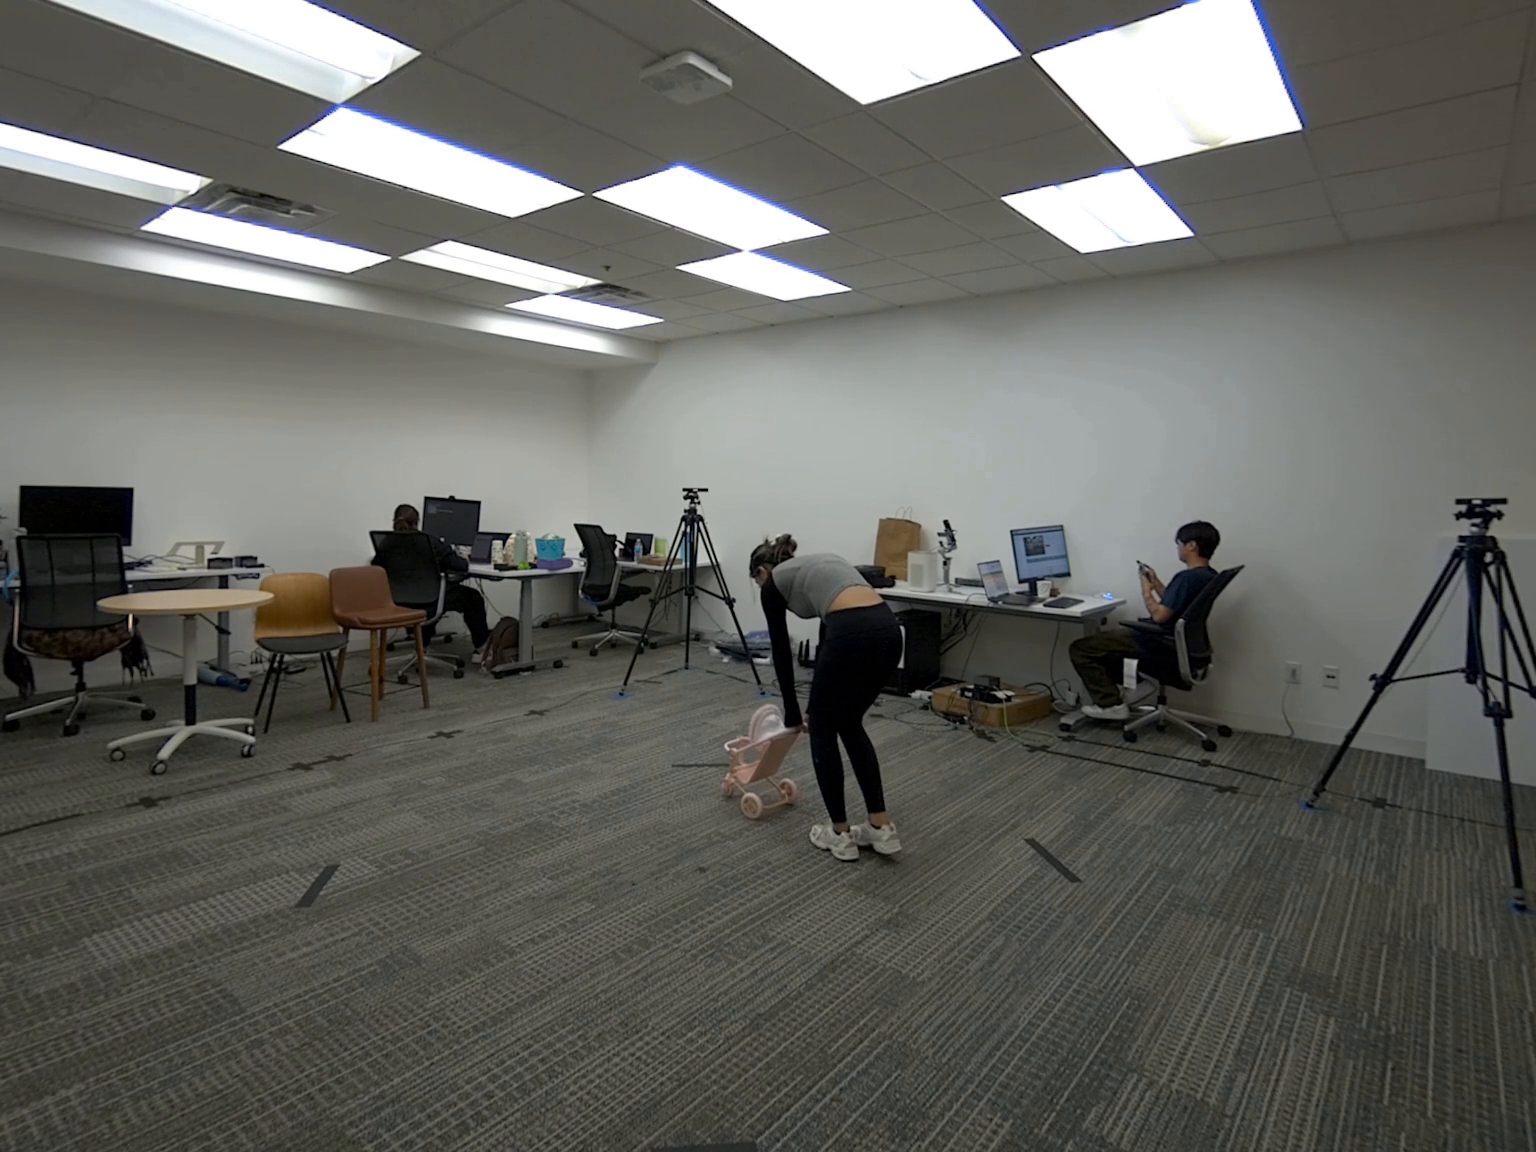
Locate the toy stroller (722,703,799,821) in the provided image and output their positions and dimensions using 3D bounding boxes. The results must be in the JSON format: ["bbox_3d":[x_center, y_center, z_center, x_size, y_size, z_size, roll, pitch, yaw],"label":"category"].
[{"bbox_3d":[-0.040,0.789,3.727,0.272,0.530,0.356,-1,21,-45],"label":"toy stroller"}]
